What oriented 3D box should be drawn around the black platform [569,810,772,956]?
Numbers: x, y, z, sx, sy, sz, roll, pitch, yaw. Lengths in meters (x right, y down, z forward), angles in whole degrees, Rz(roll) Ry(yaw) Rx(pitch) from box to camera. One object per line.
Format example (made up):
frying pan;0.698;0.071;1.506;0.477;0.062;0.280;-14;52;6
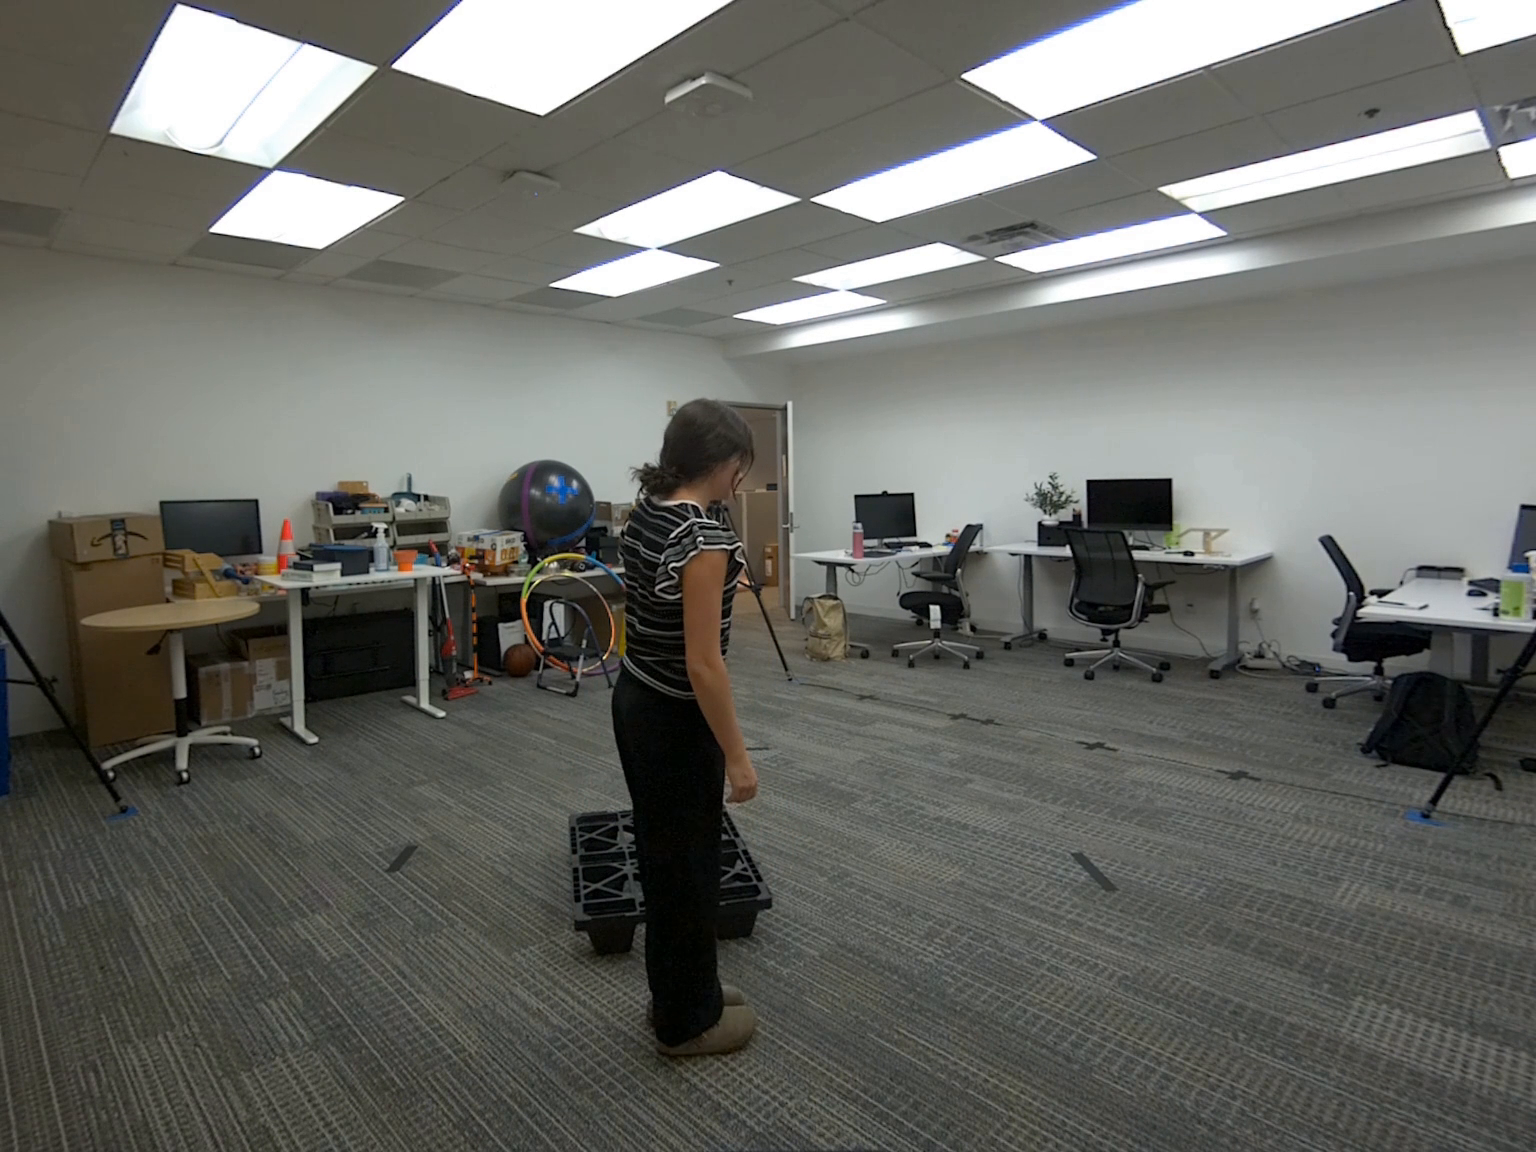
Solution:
black platform;-0.369;1.004;2.914;0.598;0.142;0.819;-4;7;-13
